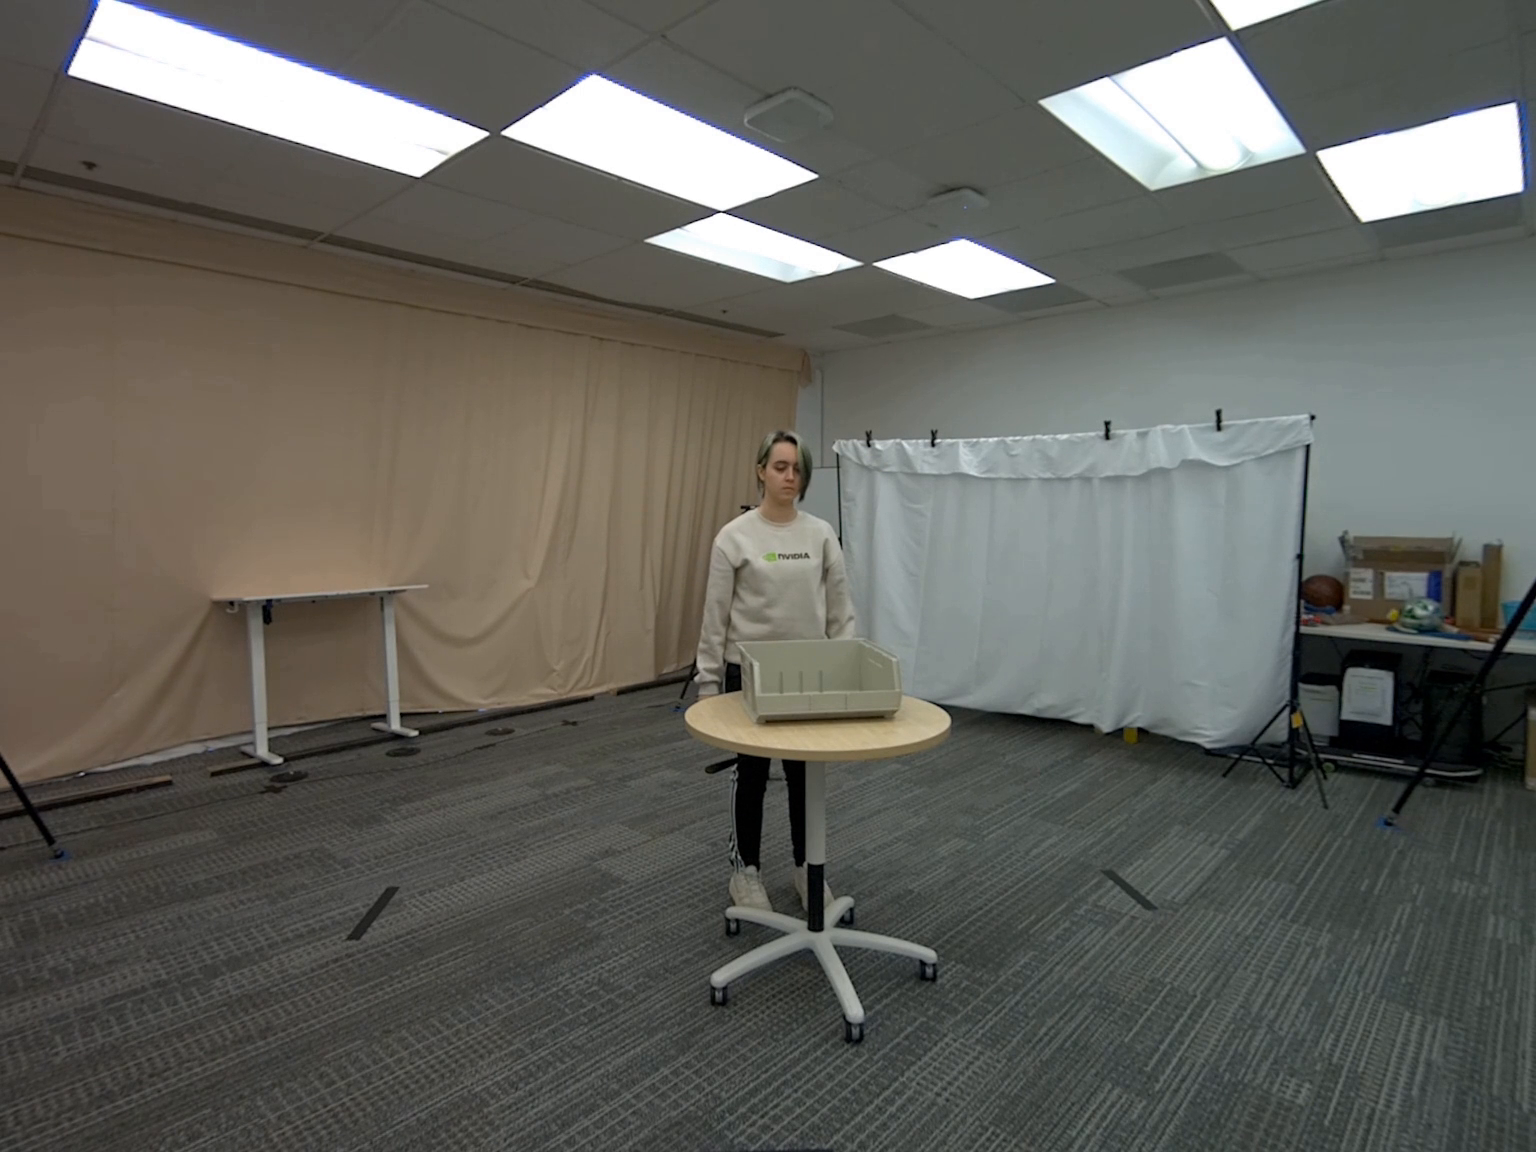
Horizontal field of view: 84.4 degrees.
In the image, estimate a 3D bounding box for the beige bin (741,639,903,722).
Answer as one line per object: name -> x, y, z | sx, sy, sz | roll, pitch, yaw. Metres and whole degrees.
beige bin -> 0.137, 0.309, 2.511 | 0.419, 0.188, 0.381 | -2, 4, -9
